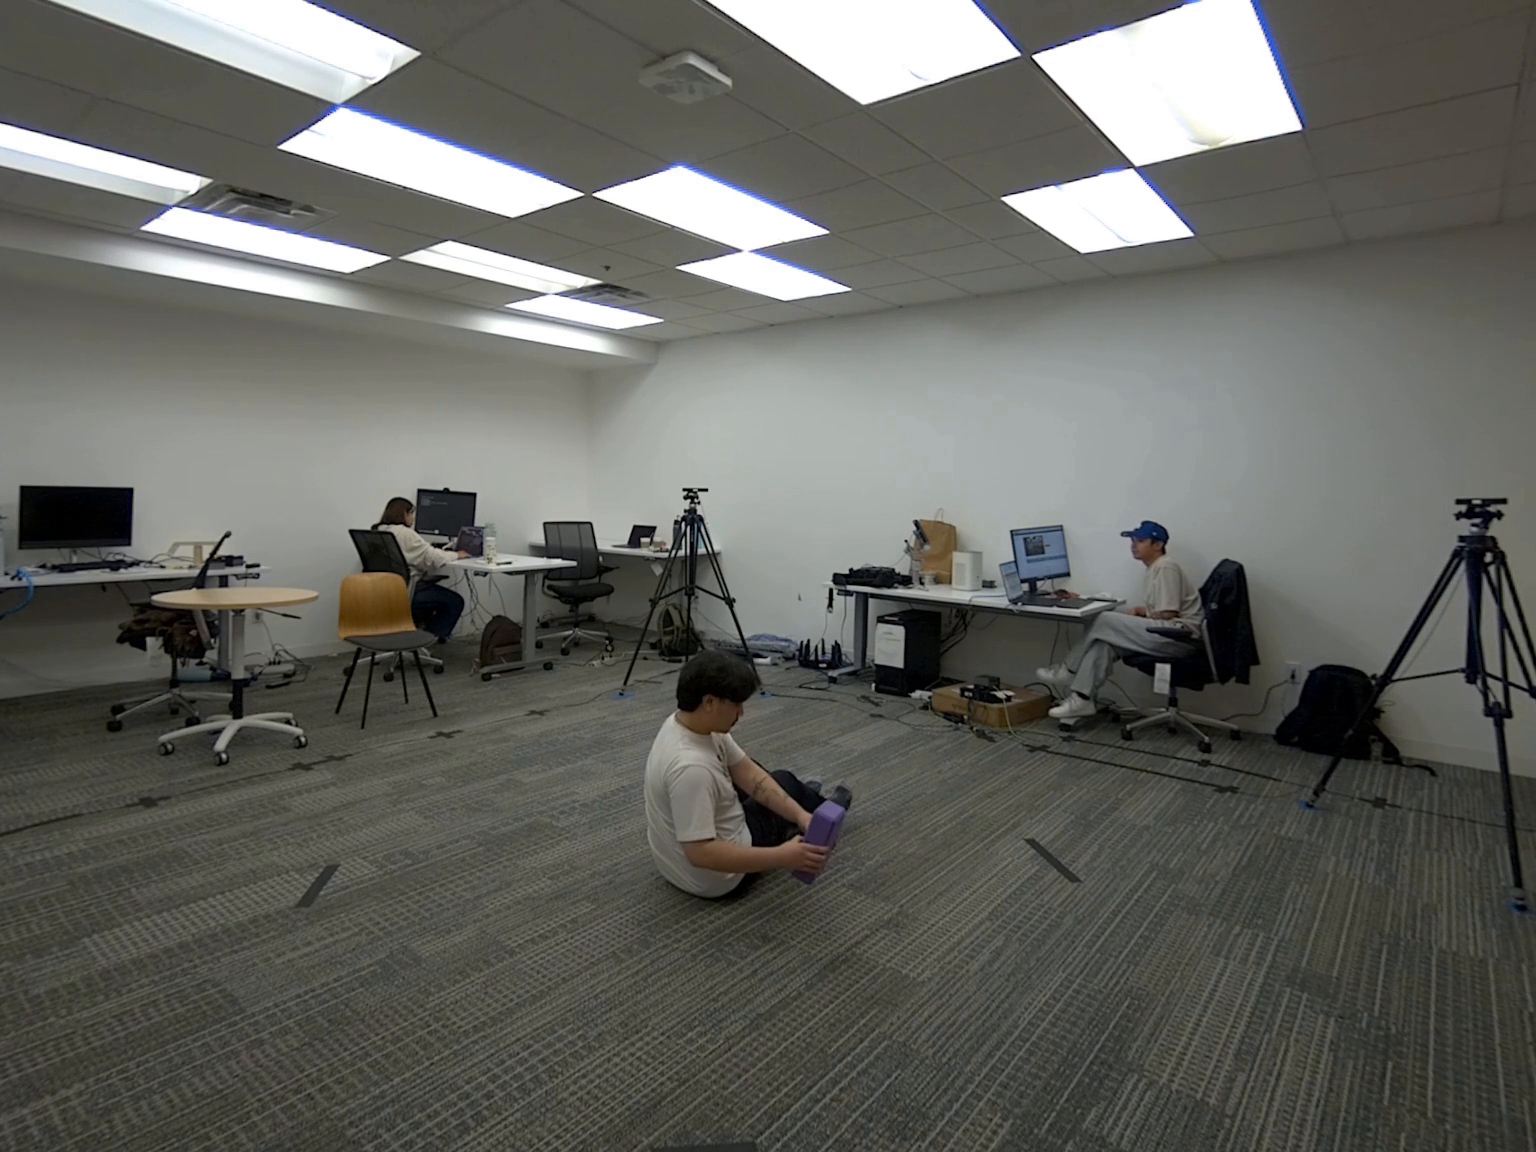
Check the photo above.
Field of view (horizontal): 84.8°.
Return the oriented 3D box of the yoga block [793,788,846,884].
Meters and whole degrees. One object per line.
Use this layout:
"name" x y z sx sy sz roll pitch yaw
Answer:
"yoga block" 0.162 0.851 2.723 0.078 0.228 0.146 21 8 18
